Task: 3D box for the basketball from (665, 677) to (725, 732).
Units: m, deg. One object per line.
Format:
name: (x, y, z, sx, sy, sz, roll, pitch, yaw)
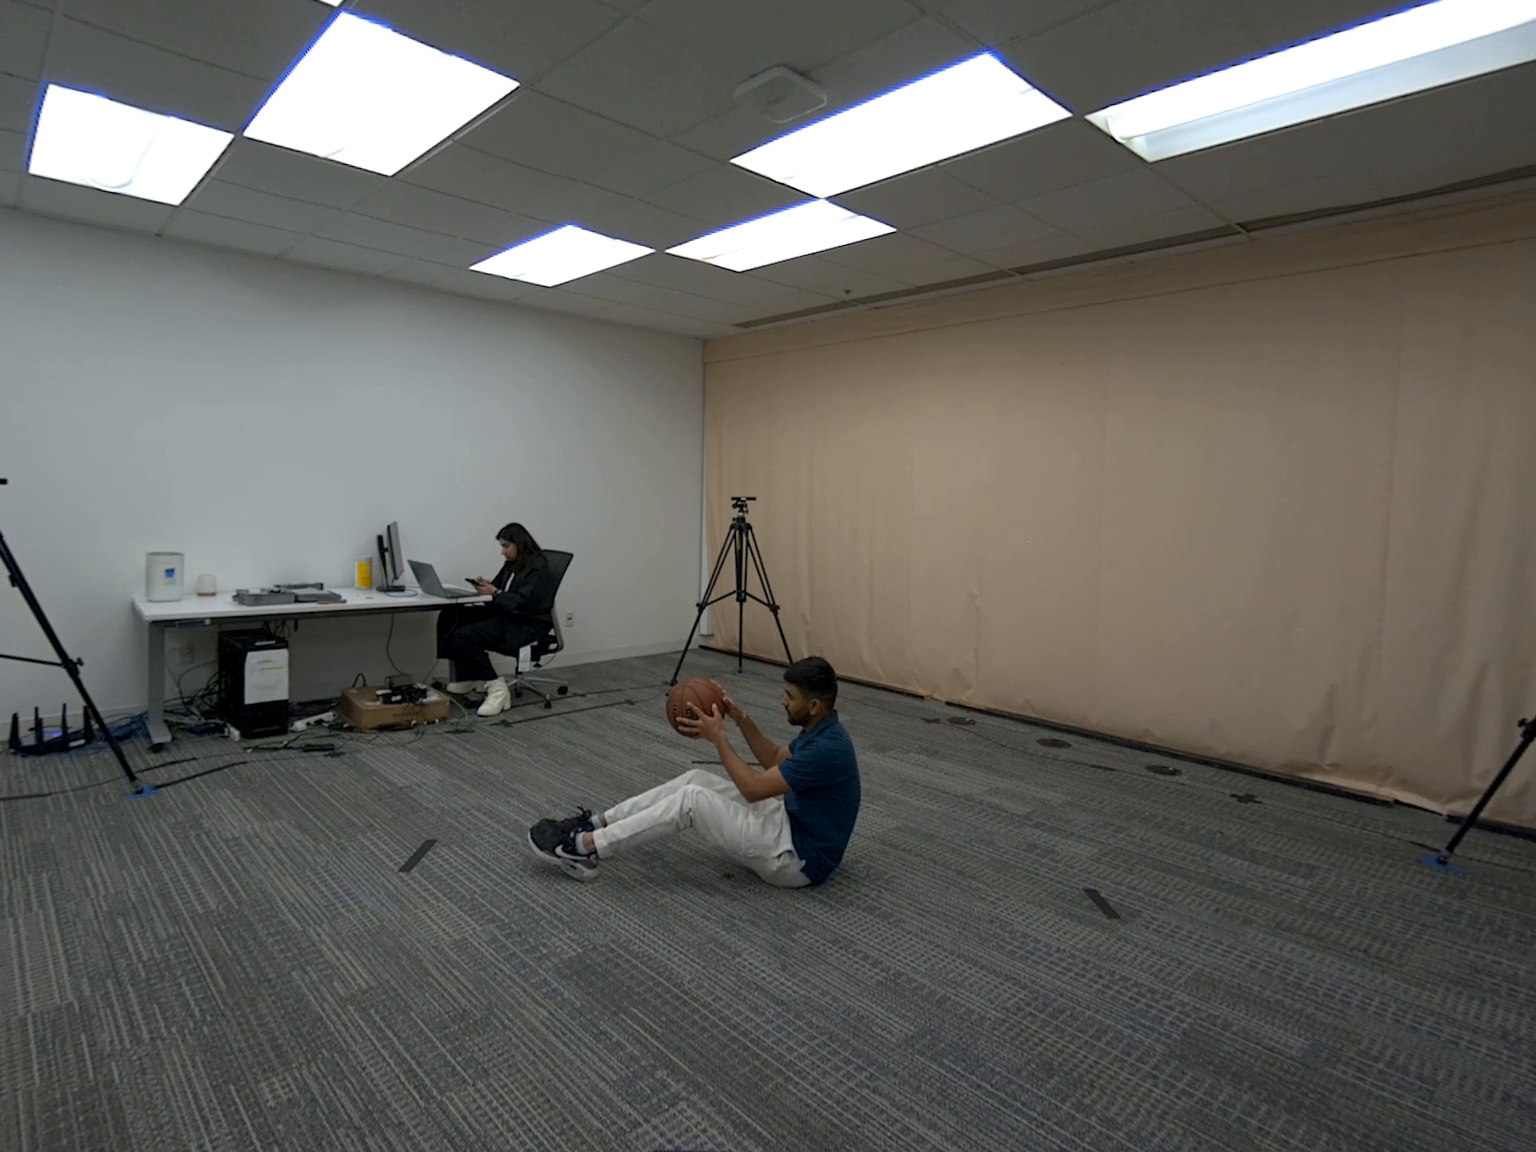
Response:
basketball: (-0.291, 0.530, 3.335, 0.236, 0.235, 0.237, 1, 4, -1)
